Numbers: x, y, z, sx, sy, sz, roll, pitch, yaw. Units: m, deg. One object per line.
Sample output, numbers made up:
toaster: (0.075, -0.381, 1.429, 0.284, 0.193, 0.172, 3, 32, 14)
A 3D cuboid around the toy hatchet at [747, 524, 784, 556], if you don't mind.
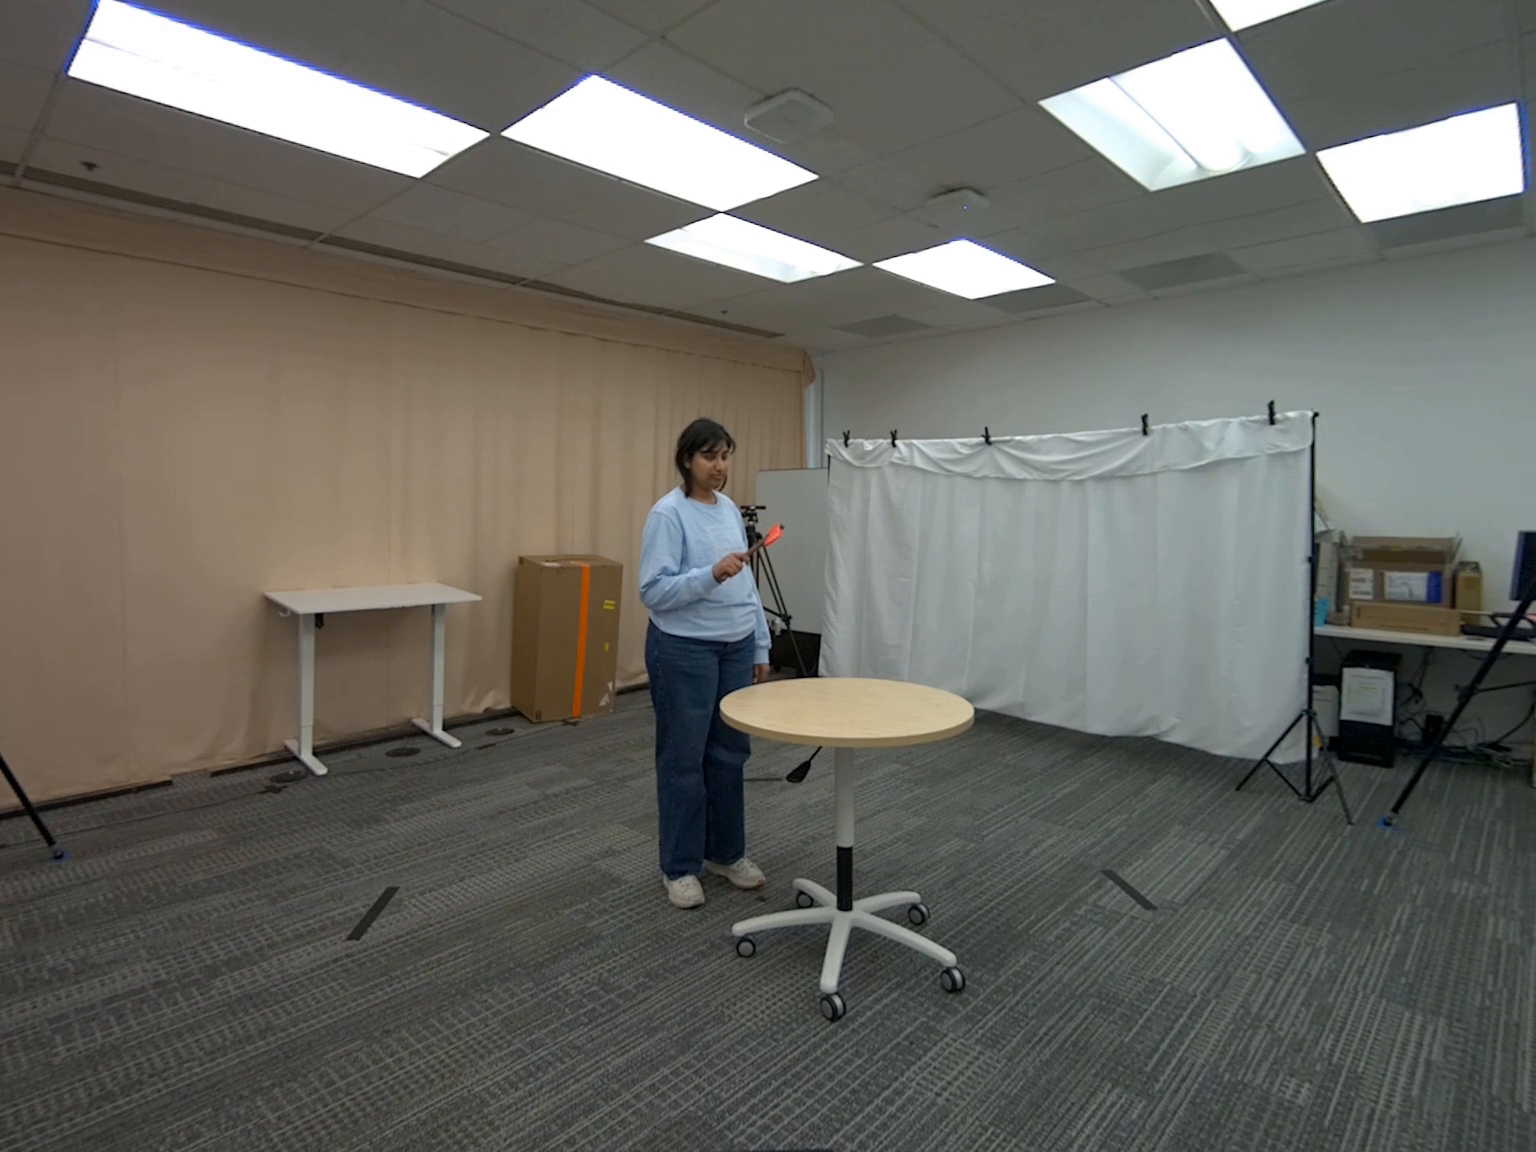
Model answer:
toy hatchet: (-0.040, -0.074, 2.739, 0.269, 0.029, 0.134, -45, 19, -8)
